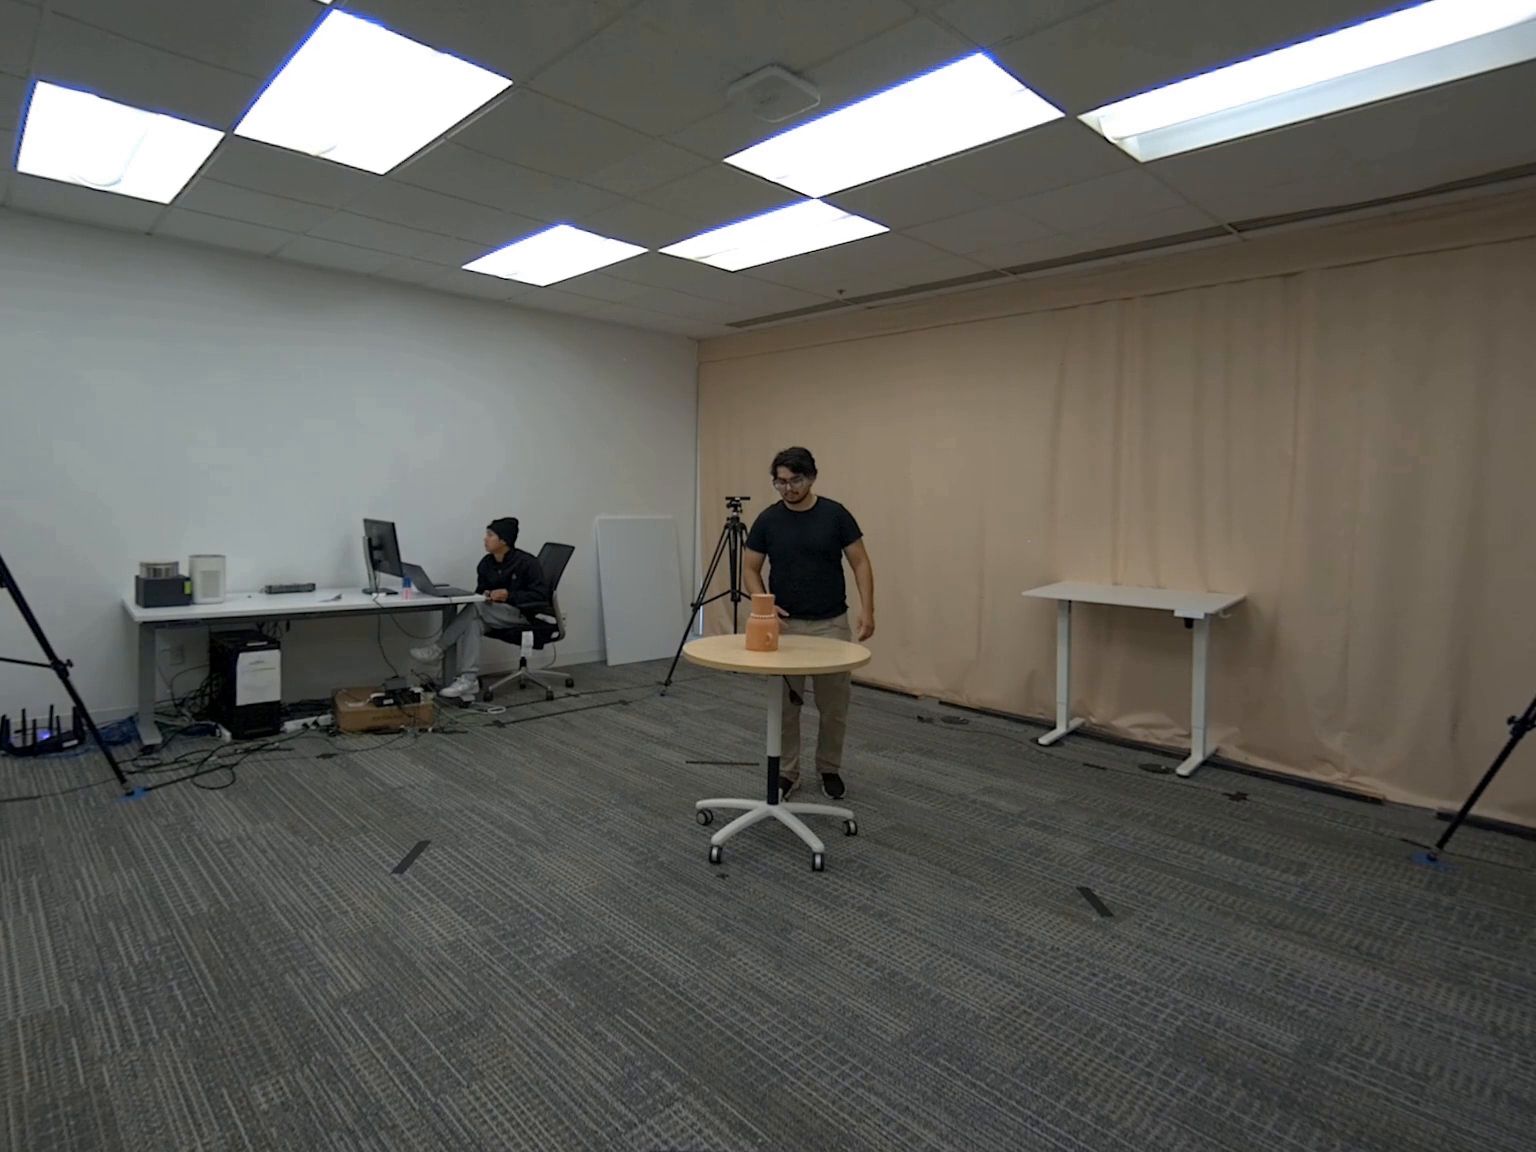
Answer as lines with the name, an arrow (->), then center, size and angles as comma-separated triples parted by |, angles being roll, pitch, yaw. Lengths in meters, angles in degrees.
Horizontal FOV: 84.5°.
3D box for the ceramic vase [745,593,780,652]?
ceramic vase -> -0.034, 0.189, 3.444 | 0.162, 0.219, 0.132 | 4, 3, 29
